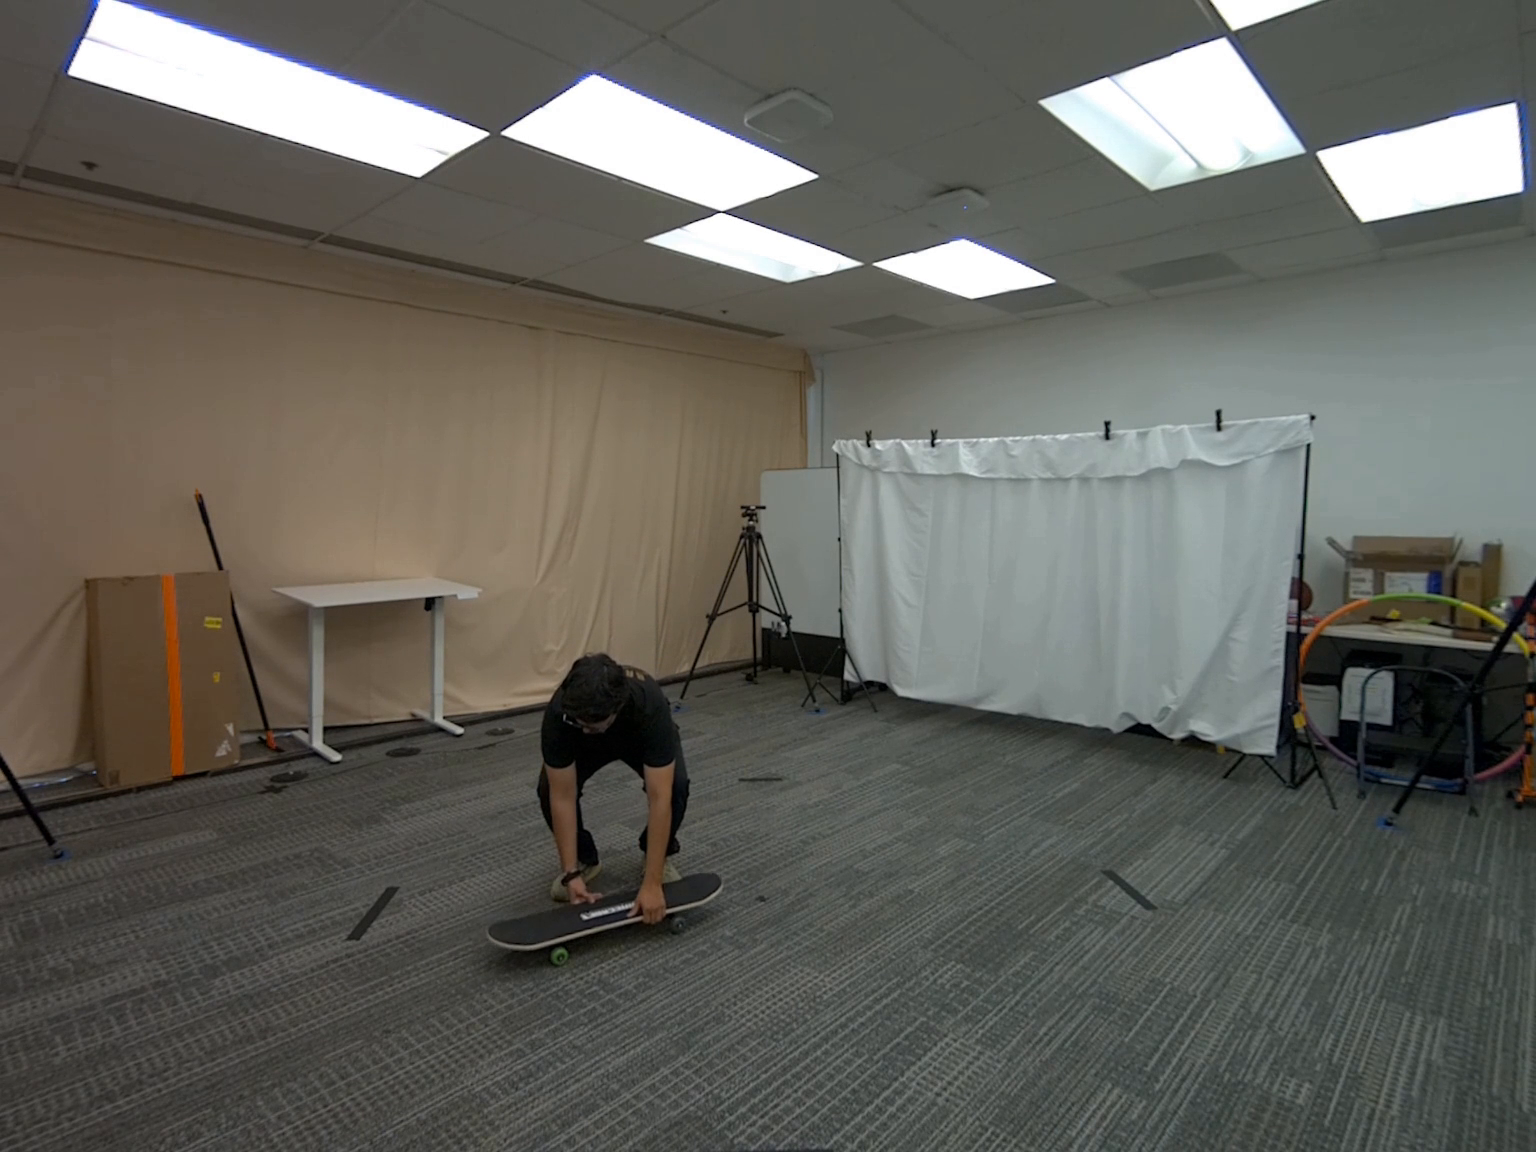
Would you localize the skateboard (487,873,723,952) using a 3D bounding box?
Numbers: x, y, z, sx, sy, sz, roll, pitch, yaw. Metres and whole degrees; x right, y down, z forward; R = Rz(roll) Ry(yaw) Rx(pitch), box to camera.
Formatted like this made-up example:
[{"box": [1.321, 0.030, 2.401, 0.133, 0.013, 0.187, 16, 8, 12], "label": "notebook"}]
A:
[{"box": [-0.505, 1.101, 2.712, 0.766, 0.110, 0.199, -4, 6, -26], "label": "skateboard"}]
